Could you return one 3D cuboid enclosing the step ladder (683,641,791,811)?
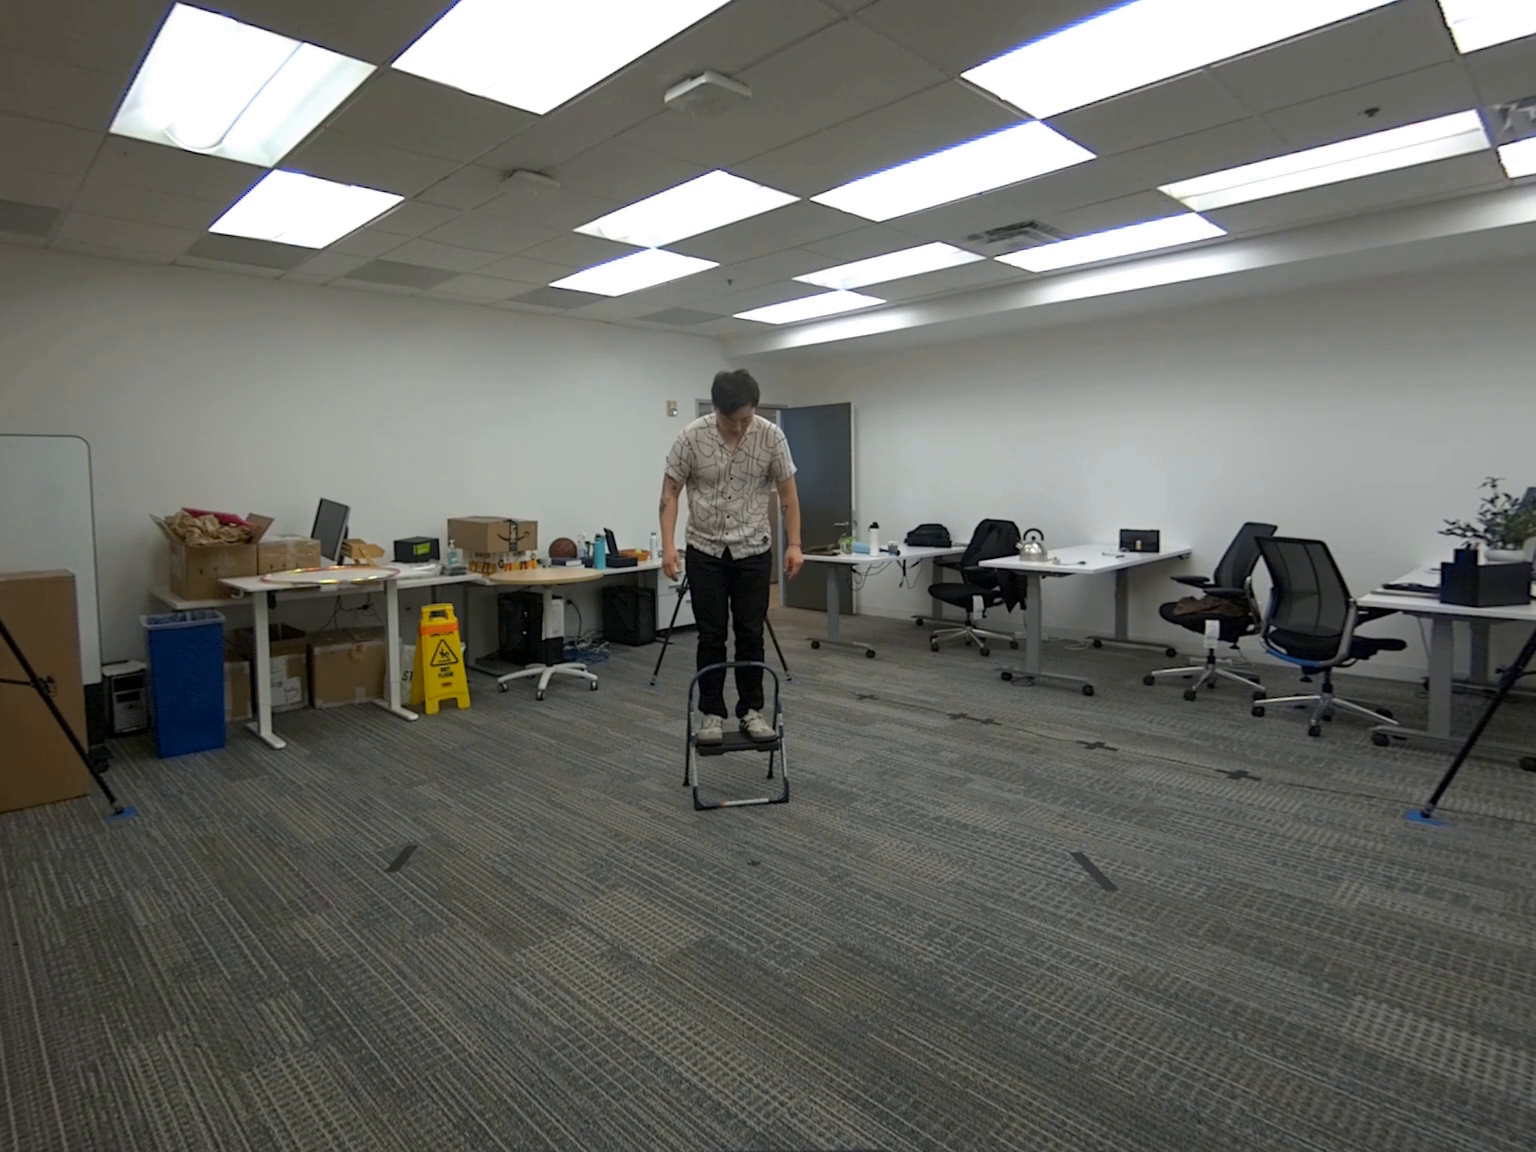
[{"bbox_3d":[-0.151,0.670,3.792,0.426,0.604,0.354,-2,4,-12],"label":"step ladder"}]
